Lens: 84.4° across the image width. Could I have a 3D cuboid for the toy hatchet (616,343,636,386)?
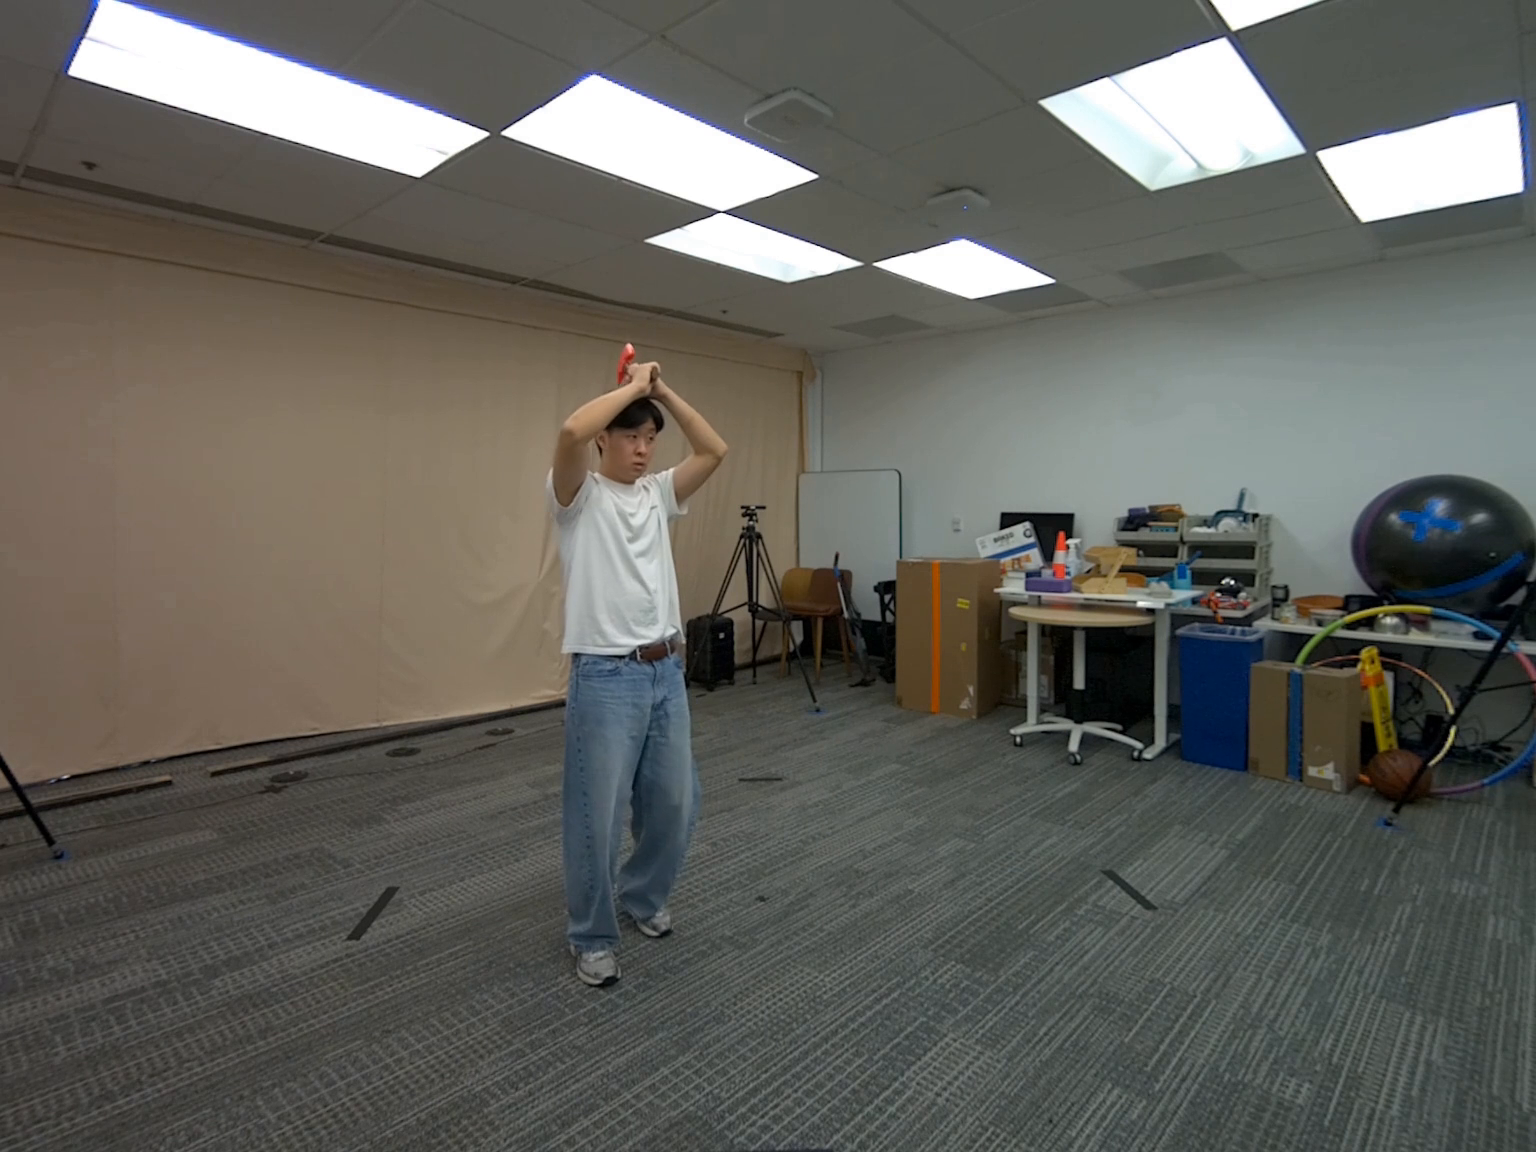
[{"bbox_3d":[-0.394,-0.654,2.565,0.029,0.131,0.278,11,2,-30],"label":"toy hatchet"}]
